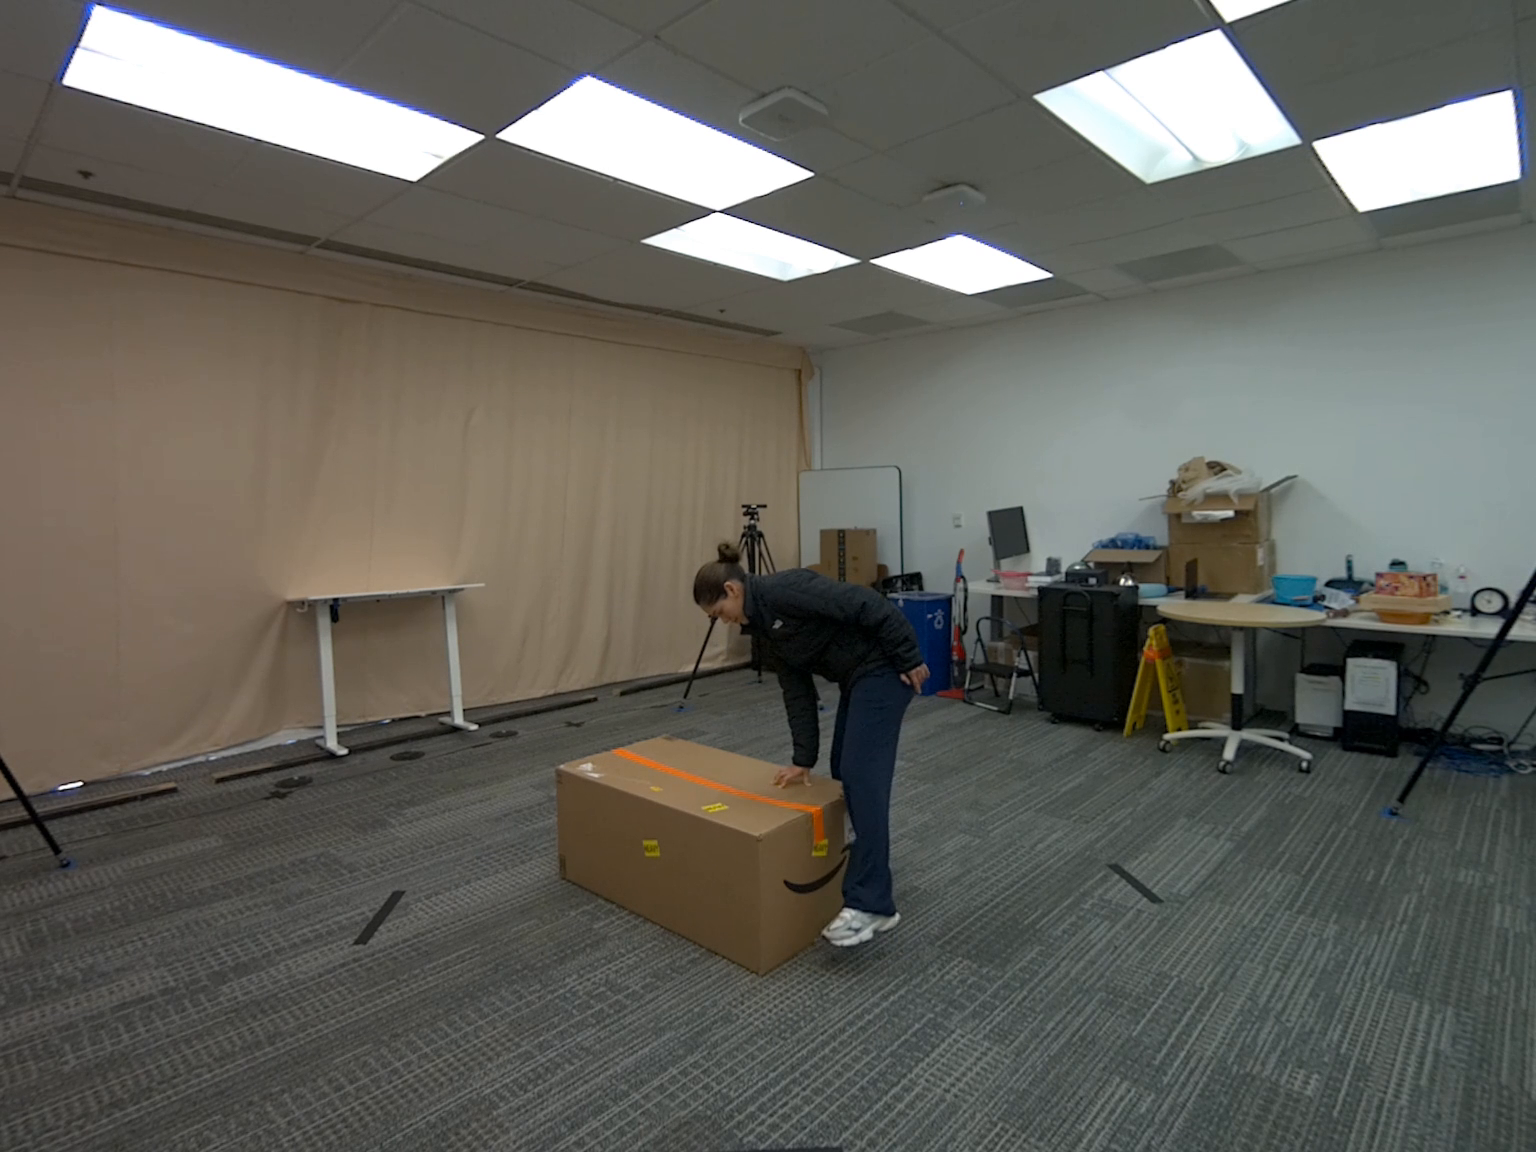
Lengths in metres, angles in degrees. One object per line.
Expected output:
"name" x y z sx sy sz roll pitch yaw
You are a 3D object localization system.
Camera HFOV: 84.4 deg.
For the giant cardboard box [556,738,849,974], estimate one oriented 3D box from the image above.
"giant cardboard box" -0.214 0.933 3.031 1.061 0.446 0.566 2 4 42
